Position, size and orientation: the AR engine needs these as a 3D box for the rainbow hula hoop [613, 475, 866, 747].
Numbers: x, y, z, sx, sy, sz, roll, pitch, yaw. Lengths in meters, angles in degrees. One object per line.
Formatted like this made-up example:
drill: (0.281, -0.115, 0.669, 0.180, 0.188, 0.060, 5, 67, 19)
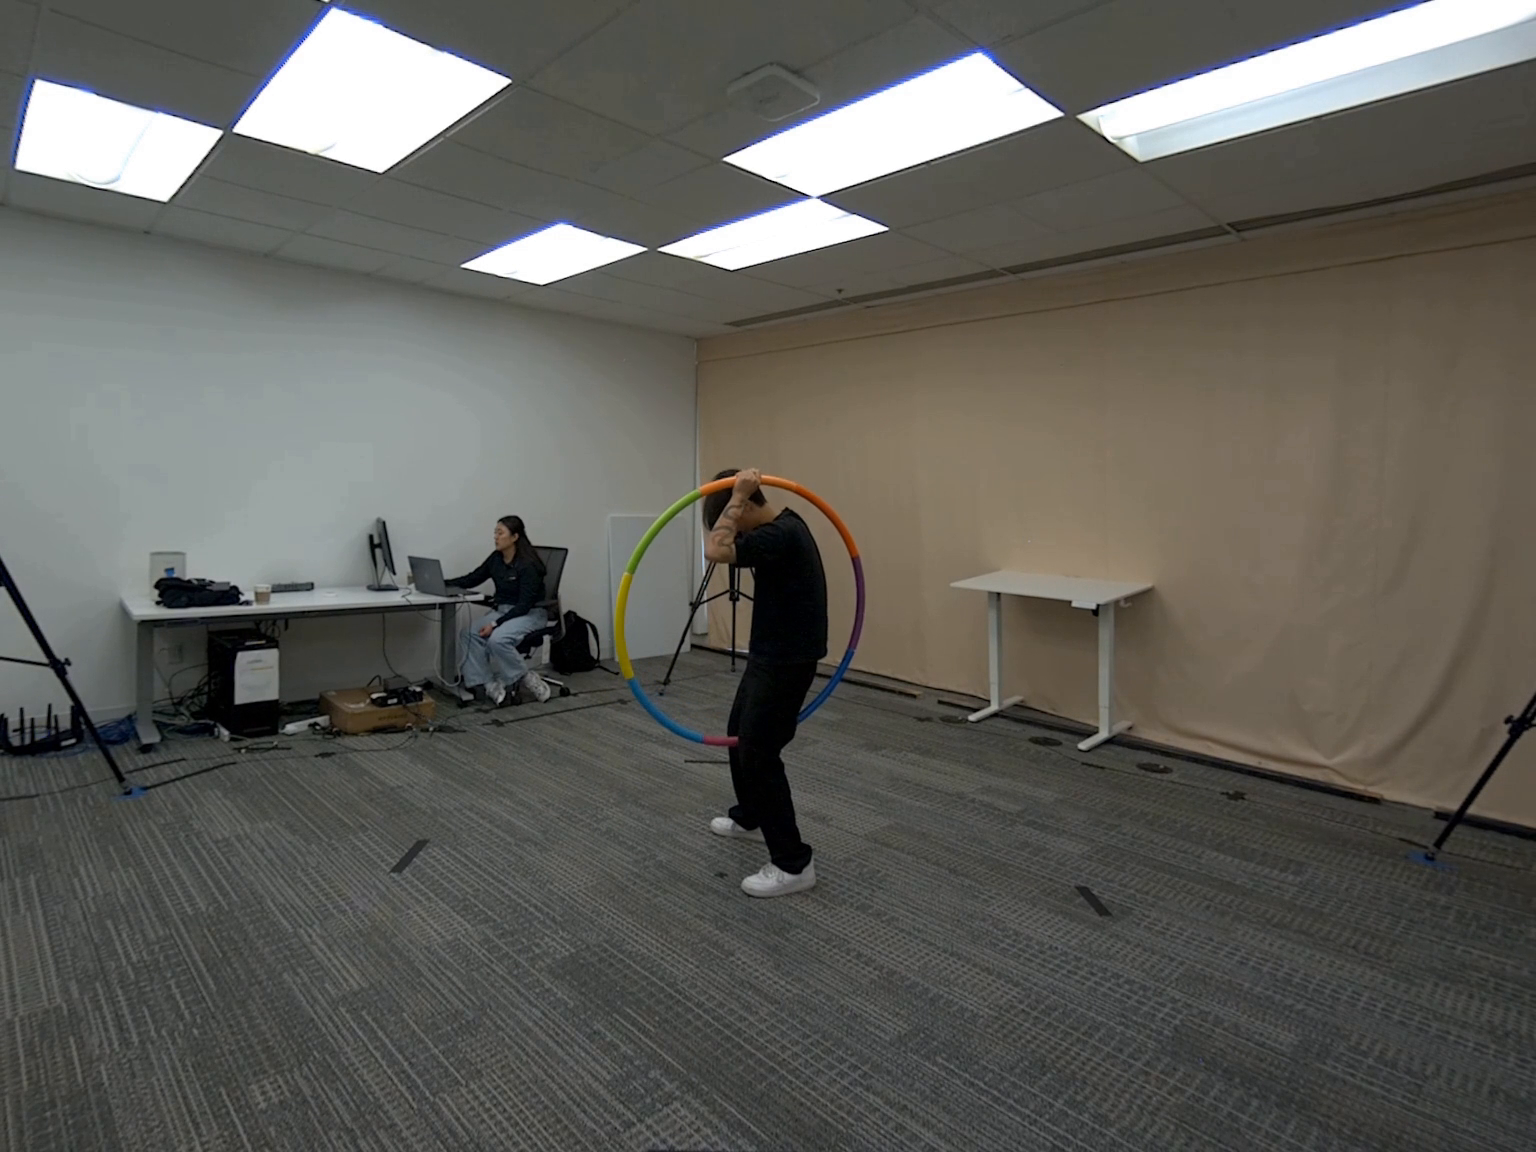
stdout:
rainbow hula hoop: (-0.083, 0.119, 3.043, 0.962, 0.973, 0.036, 0, 9, -24)
